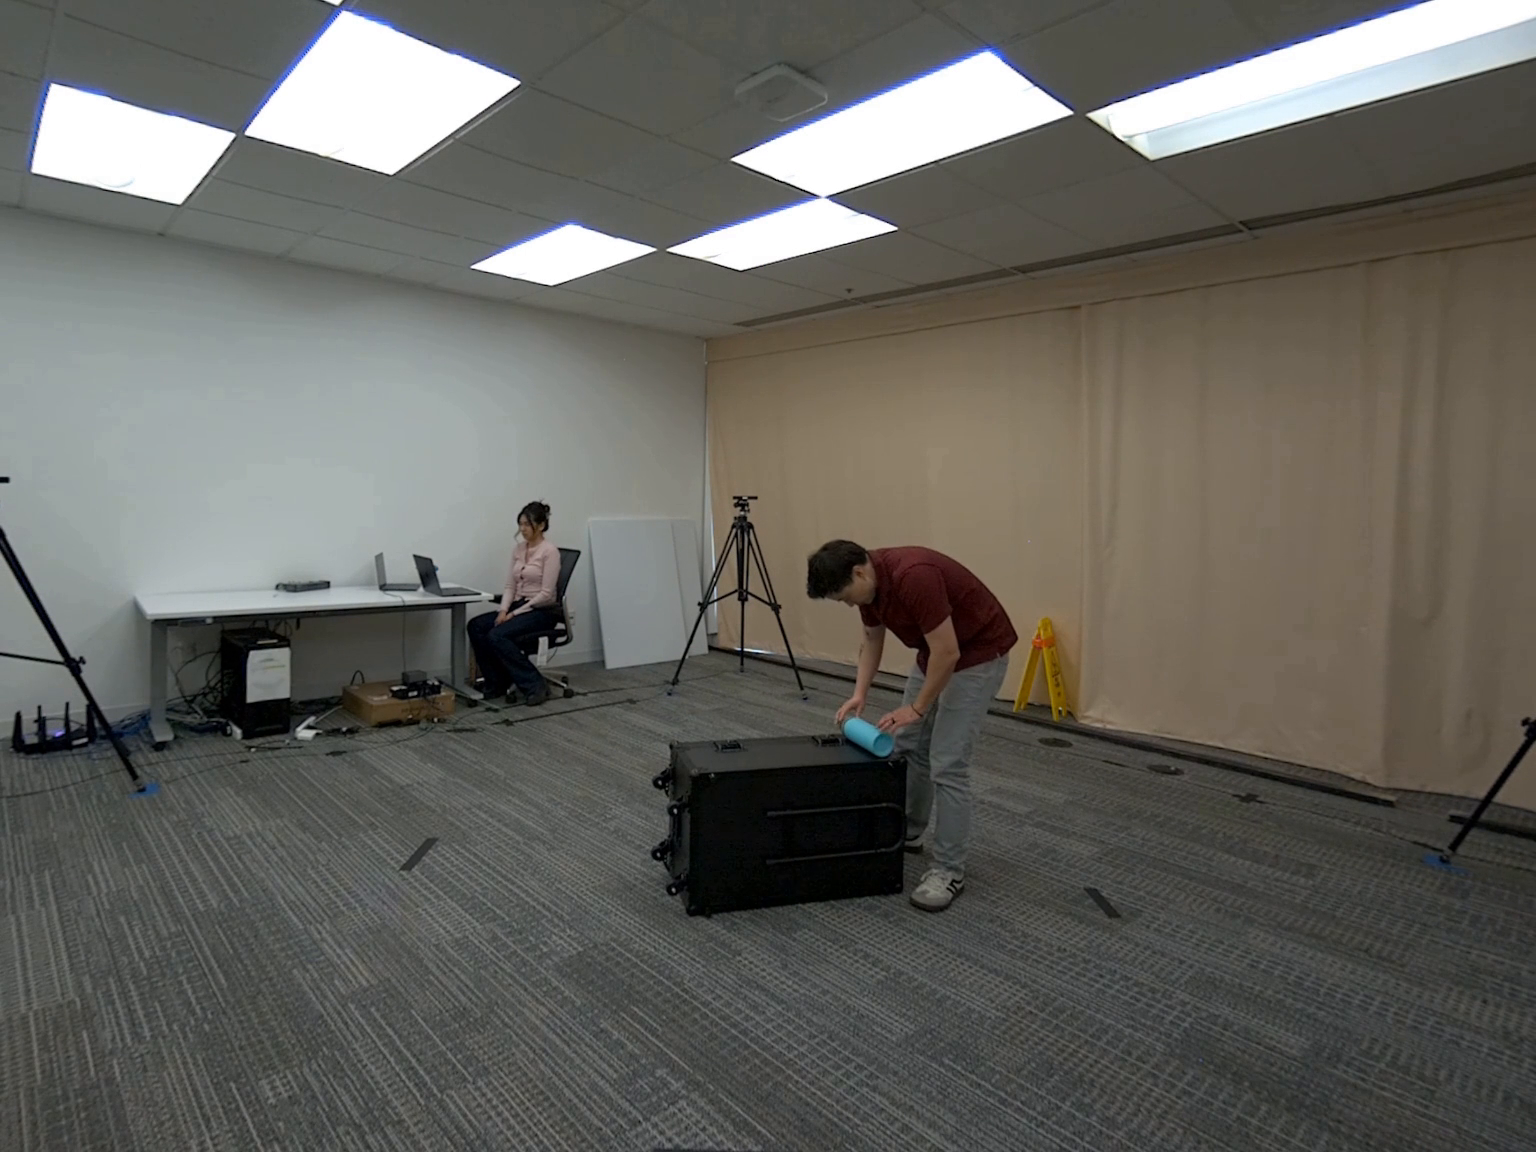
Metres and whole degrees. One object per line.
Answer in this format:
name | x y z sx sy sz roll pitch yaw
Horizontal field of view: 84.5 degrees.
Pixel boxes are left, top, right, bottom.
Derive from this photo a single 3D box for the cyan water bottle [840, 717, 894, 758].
cyan water bottle | 0.349 0.581 3.107 0.091 0.092 0.288 0 3 -21
